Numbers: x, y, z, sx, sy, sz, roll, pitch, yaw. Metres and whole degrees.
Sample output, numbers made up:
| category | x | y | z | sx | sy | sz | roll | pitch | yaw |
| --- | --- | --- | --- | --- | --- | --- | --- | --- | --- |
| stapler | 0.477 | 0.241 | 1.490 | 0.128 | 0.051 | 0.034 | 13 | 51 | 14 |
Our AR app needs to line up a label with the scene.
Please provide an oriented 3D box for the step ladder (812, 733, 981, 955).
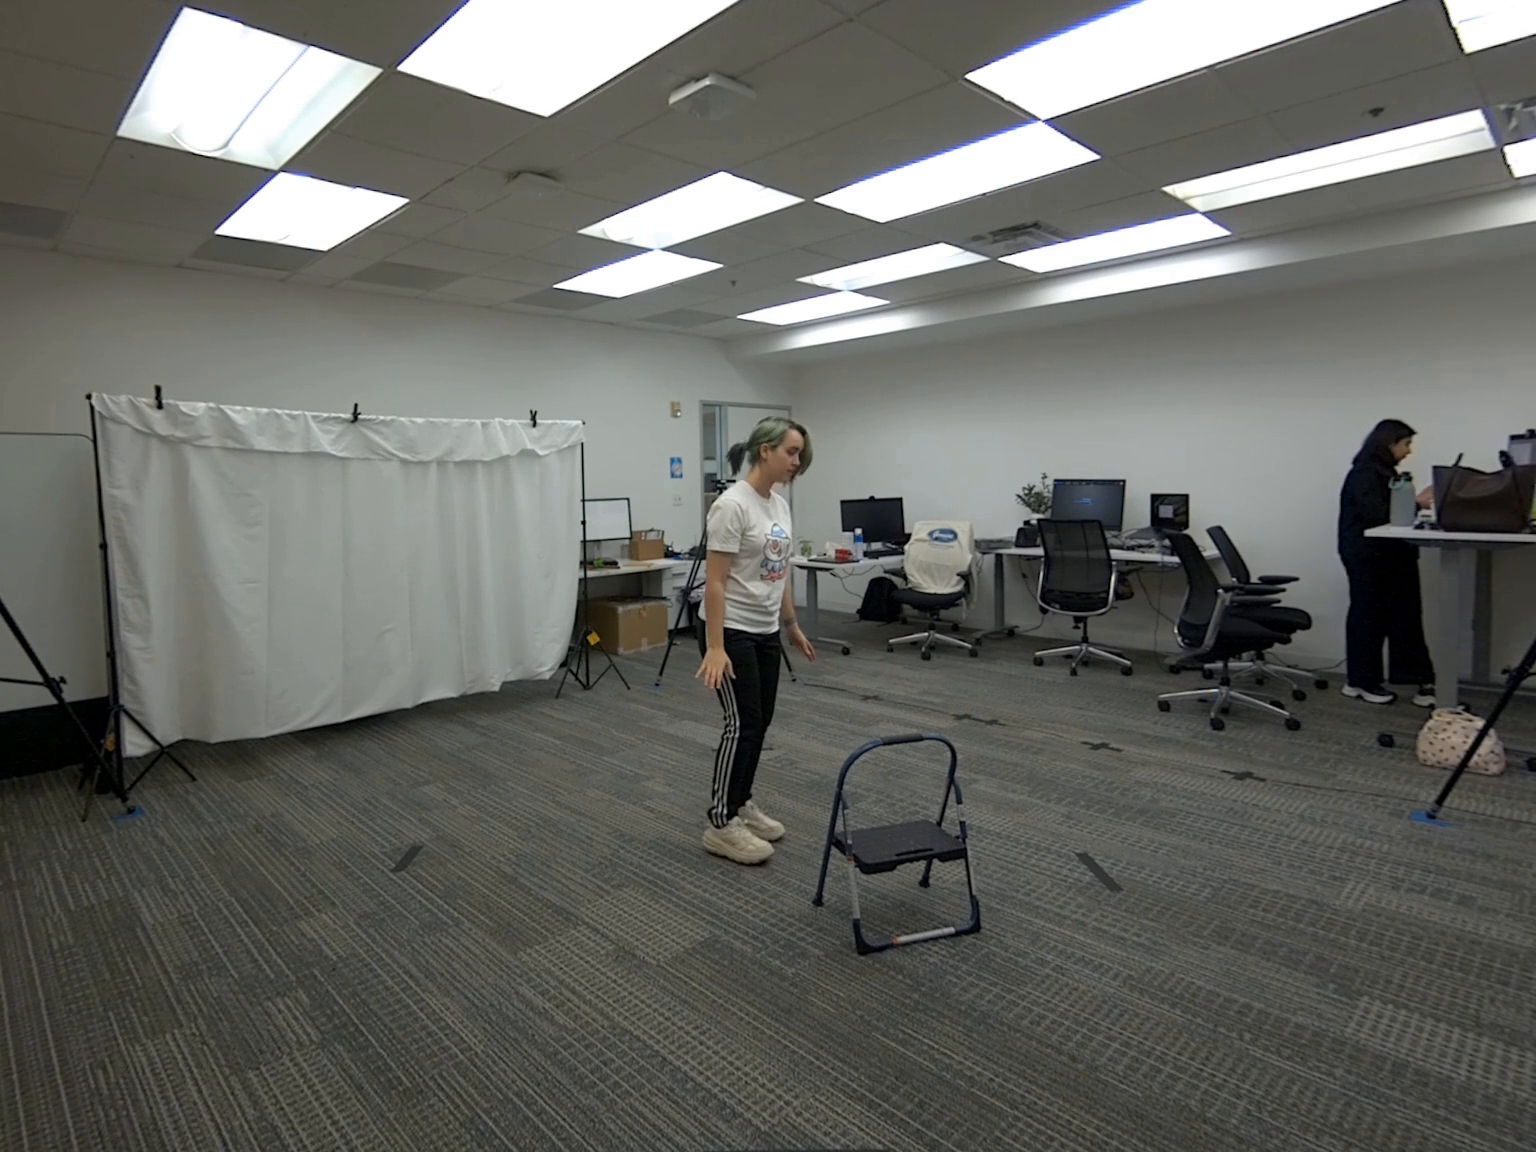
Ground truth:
| category | x | y | z | sx | sy | sz | roll | pitch | yaw |
| --- | --- | --- | --- | --- | --- | --- | --- | --- | --- |
| step ladder | 0.401 | 0.781 | 2.697 | 0.423 | 0.604 | 0.356 | -3 | 5 | -19 |
